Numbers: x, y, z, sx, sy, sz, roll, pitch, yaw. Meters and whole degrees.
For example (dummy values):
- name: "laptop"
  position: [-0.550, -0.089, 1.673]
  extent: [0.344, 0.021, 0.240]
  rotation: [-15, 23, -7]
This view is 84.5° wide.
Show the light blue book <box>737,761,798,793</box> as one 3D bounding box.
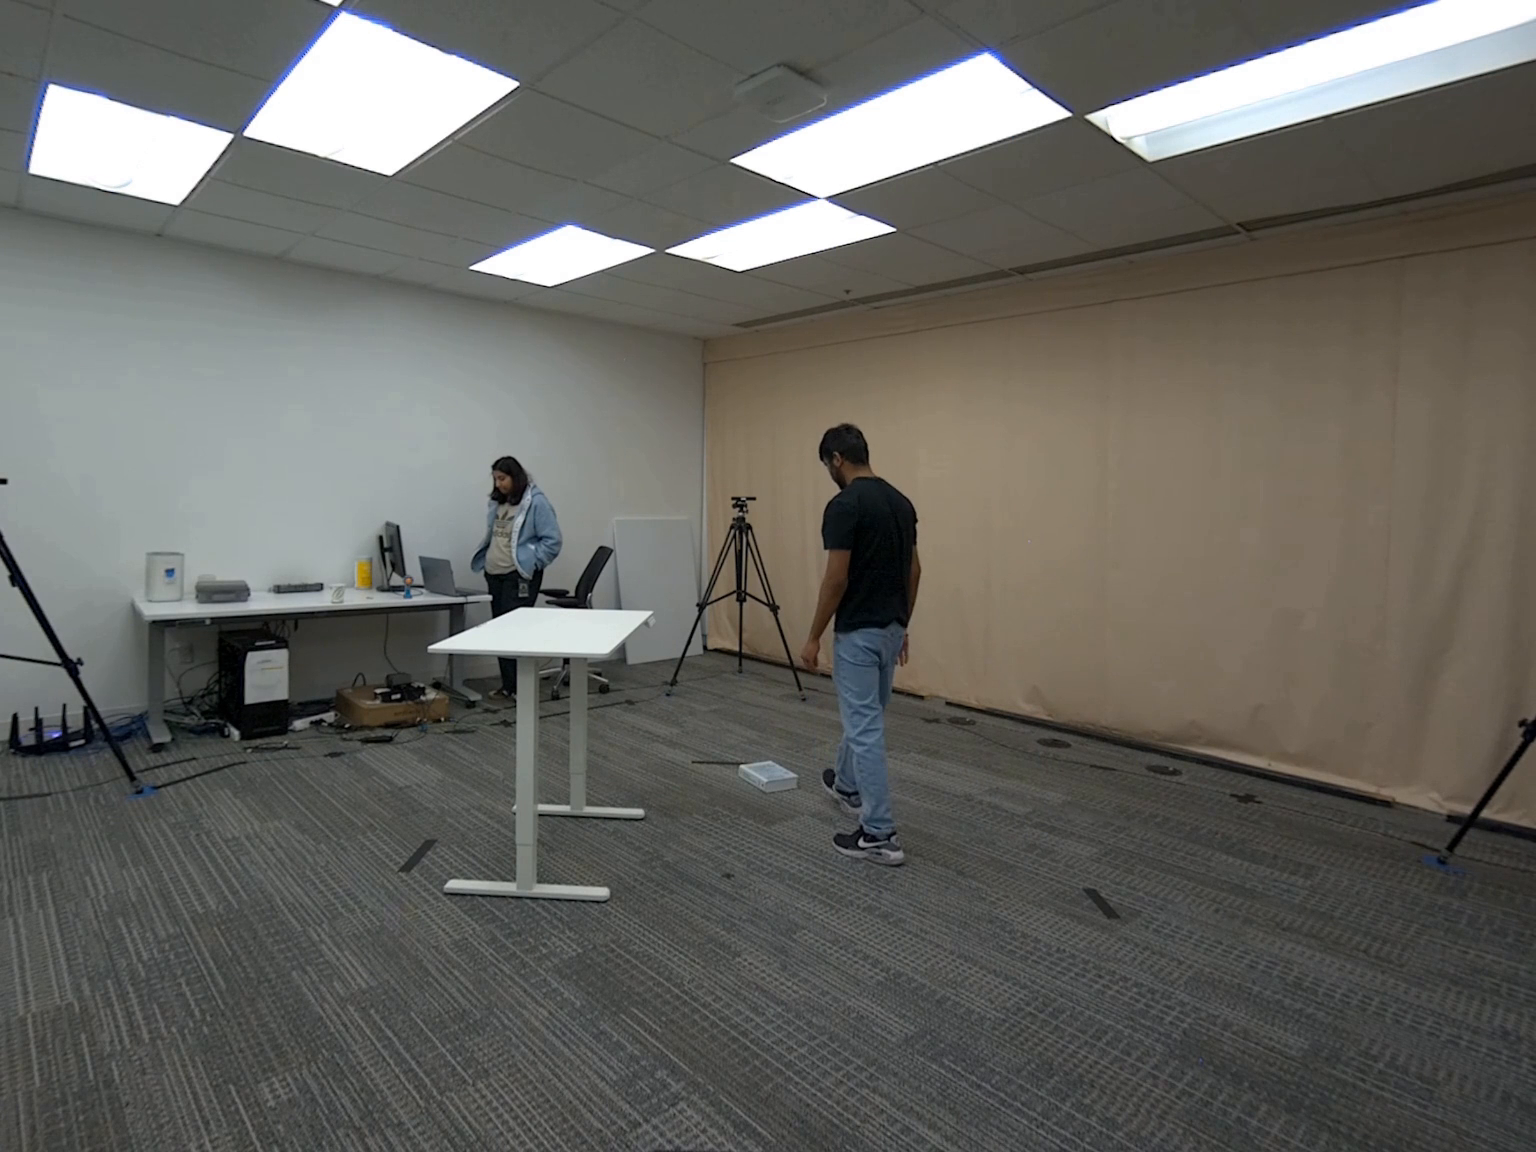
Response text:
- name: "light blue book"
  position: [-0.012, 0.988, 4.165]
  extent: [0.187, 0.059, 0.267]
  rotation: [0, 5, -30]
